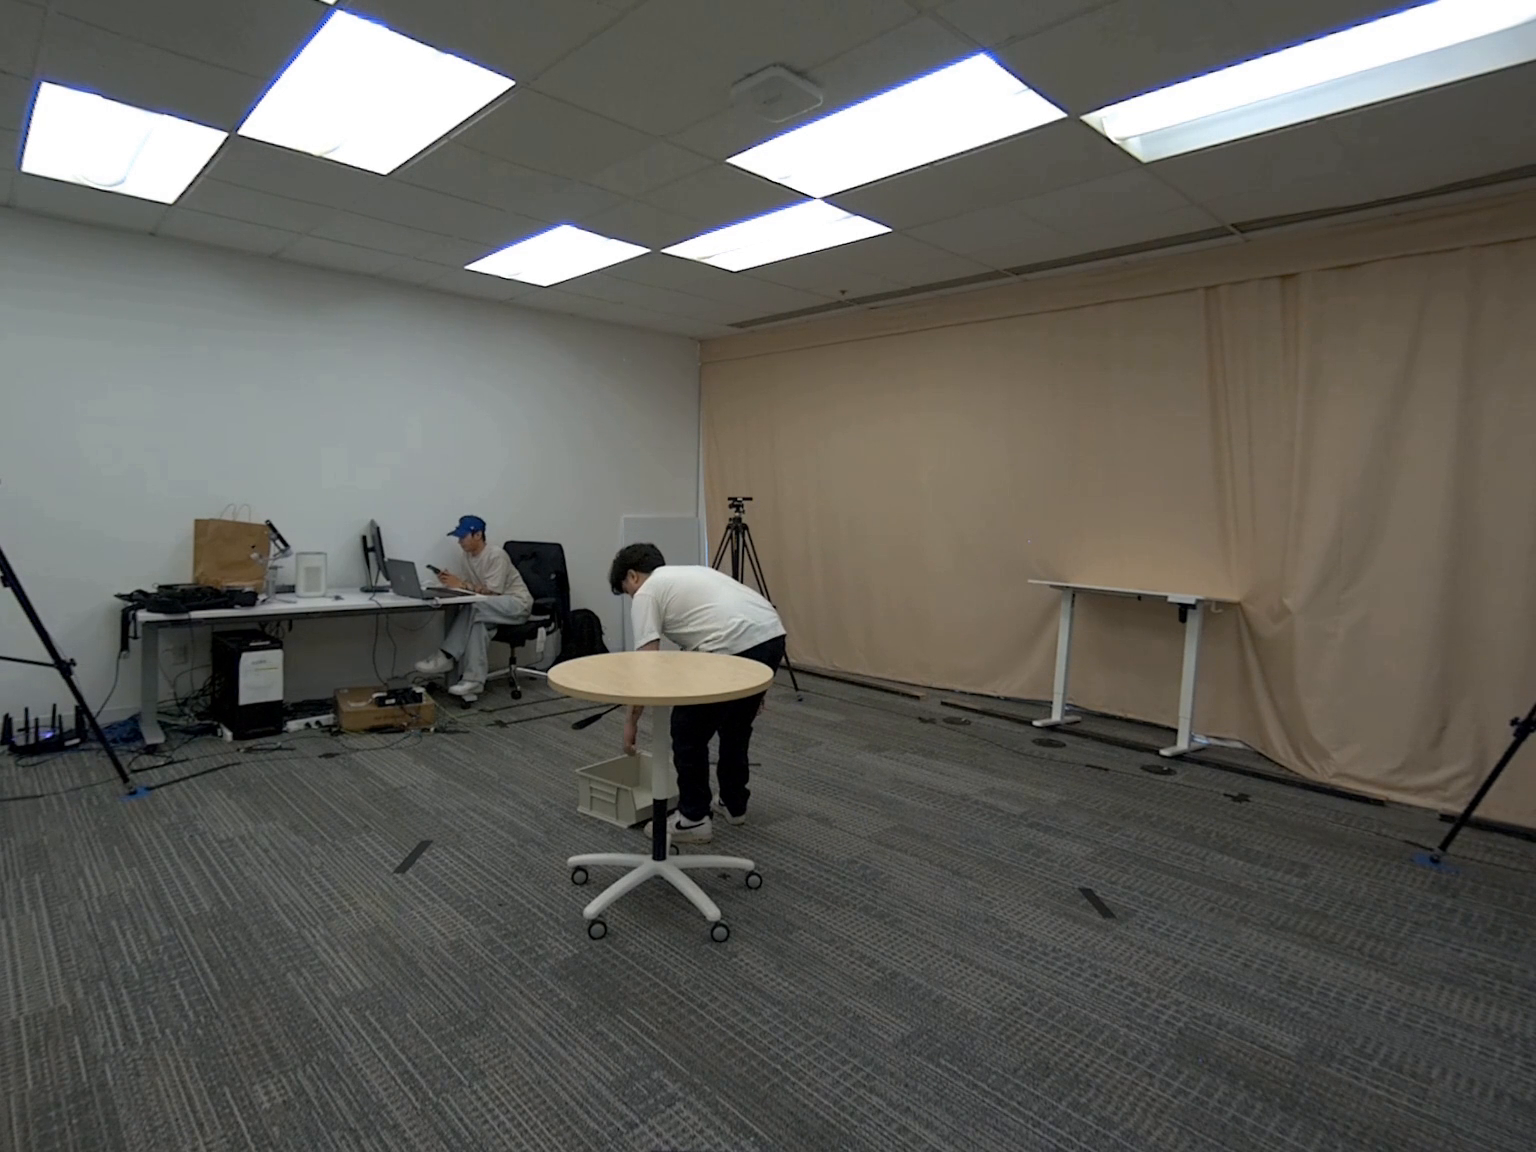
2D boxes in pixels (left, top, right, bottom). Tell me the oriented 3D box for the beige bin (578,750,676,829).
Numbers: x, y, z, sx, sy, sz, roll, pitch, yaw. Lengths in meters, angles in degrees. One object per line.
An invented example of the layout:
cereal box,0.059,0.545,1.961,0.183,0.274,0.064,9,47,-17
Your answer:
beige bin,-0.585,0.948,3.765,0.386,0.188,0.413,5,7,37
